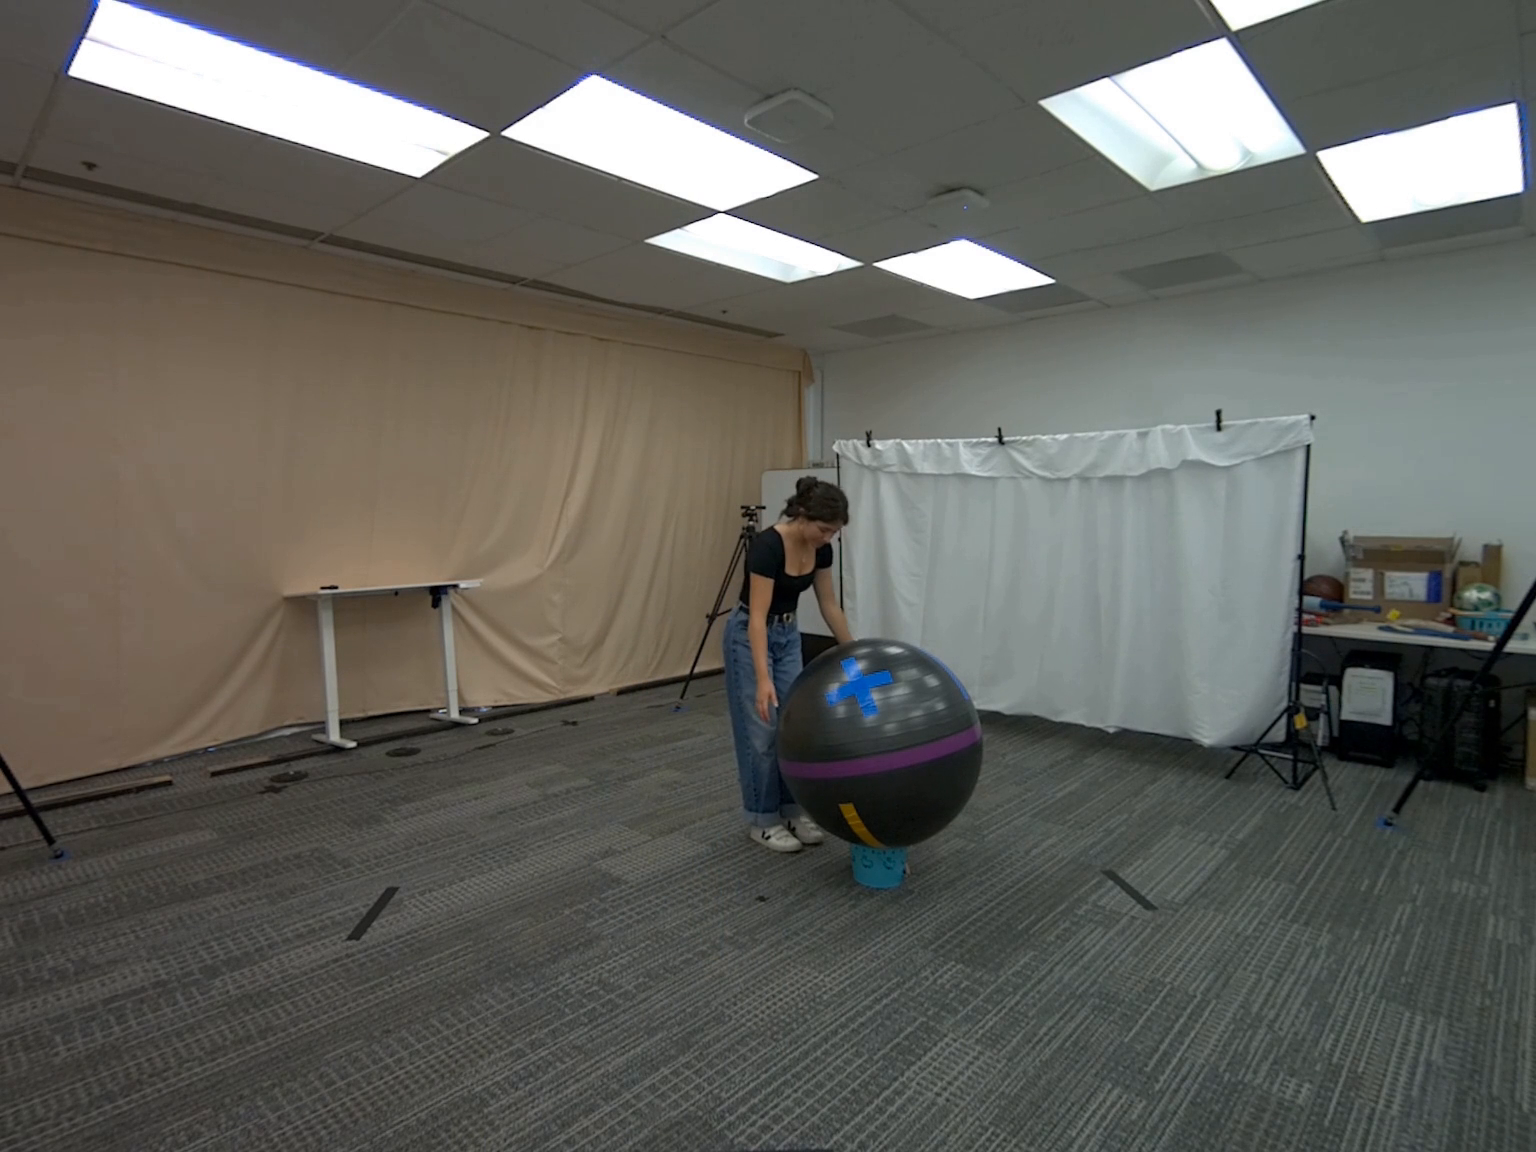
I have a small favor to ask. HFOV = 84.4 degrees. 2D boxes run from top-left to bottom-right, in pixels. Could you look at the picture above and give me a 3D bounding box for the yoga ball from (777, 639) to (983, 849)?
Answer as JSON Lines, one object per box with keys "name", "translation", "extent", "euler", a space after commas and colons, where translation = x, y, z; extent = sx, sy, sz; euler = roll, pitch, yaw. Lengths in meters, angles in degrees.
{"name": "yoga ball", "translation": [0.414, 0.618, 3.140], "extent": [0.757, 0.756, 0.760], "euler": [0, 4, -2]}
